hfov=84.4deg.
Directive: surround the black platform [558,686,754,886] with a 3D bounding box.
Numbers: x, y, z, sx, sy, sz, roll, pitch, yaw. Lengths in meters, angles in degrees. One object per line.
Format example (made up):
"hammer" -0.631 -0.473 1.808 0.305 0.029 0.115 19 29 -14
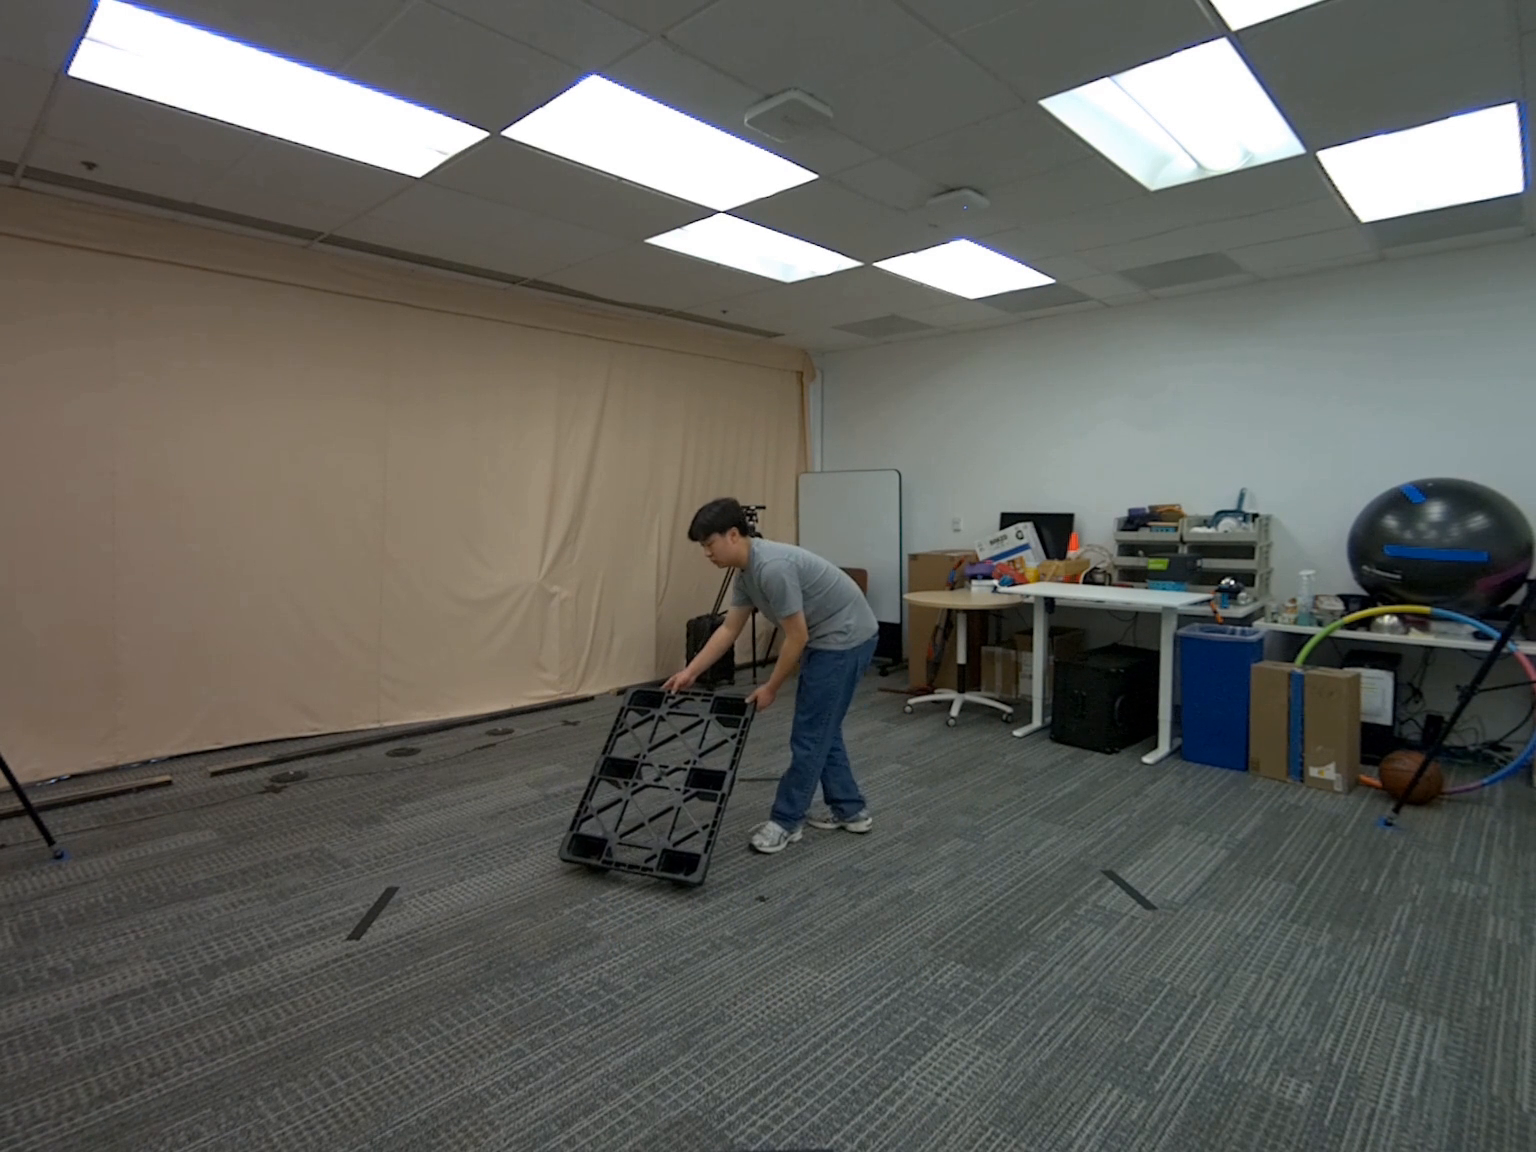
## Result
"black platform" -0.397 0.818 3.362 0.619 0.139 0.810 1 47 21
